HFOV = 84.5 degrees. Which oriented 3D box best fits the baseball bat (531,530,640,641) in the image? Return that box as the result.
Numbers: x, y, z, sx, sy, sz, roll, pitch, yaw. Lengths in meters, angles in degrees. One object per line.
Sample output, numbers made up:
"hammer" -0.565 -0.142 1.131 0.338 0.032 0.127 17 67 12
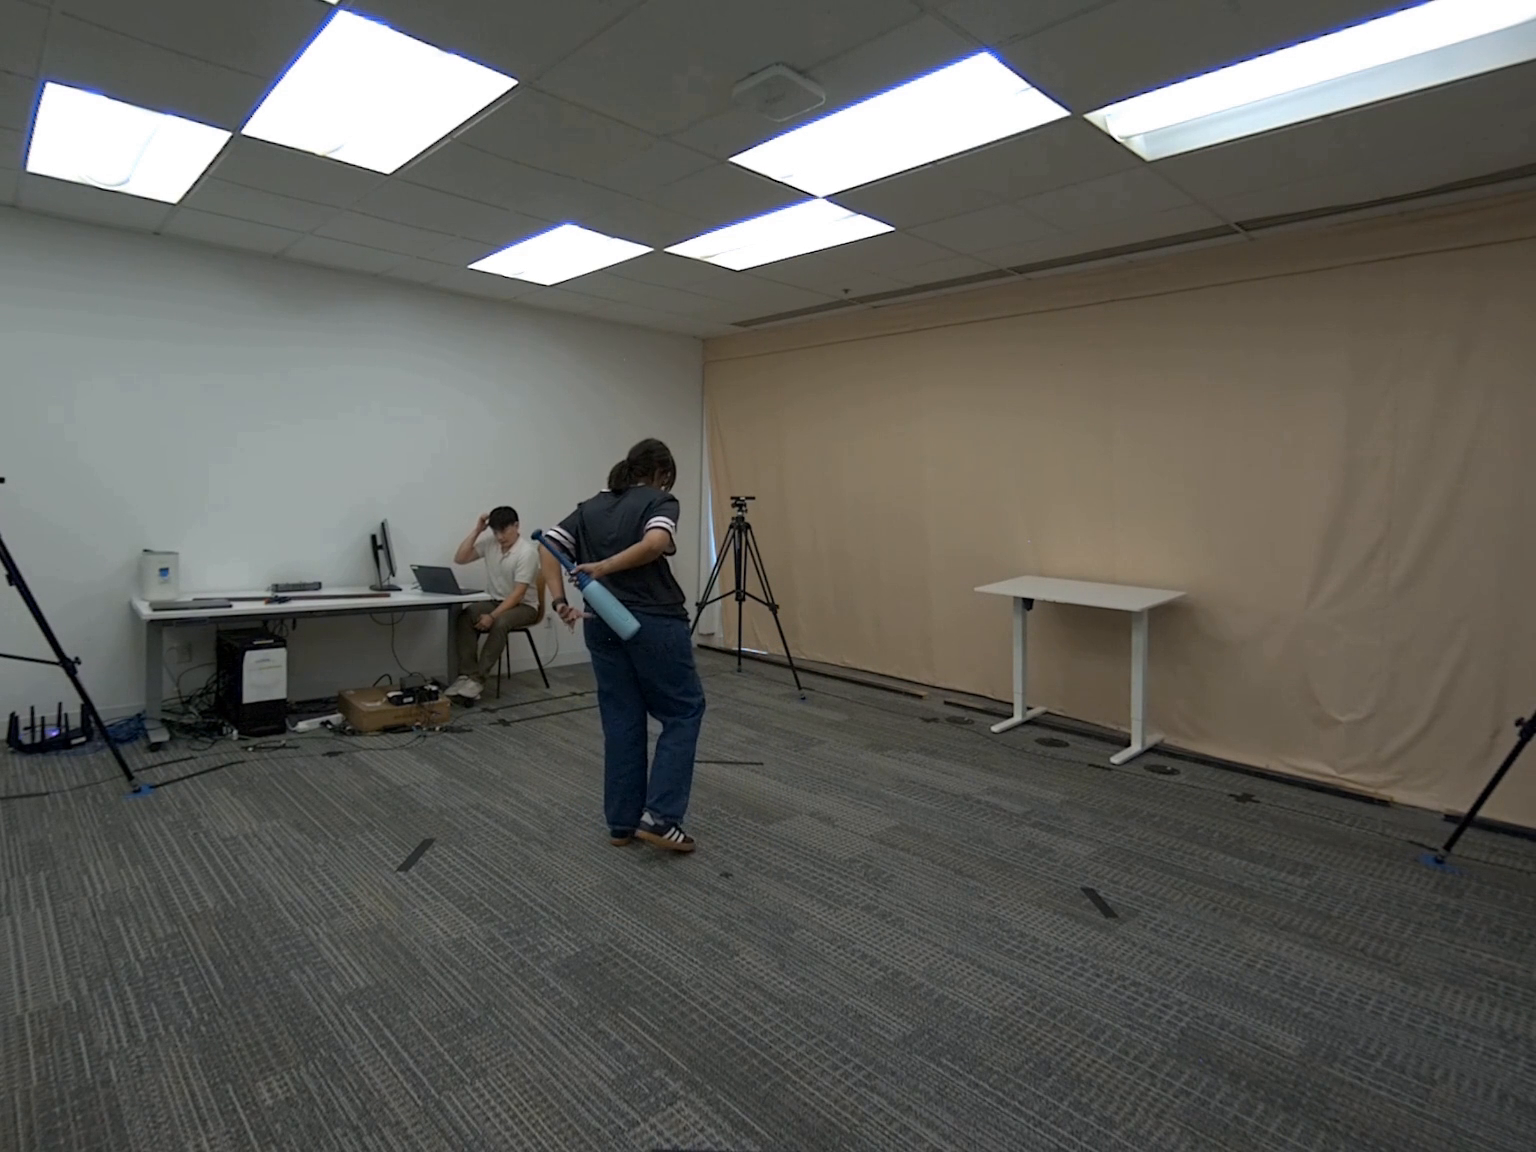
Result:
"baseball bat" -0.702 0.026 3.156 0.547 0.089 0.088 45 10 6
